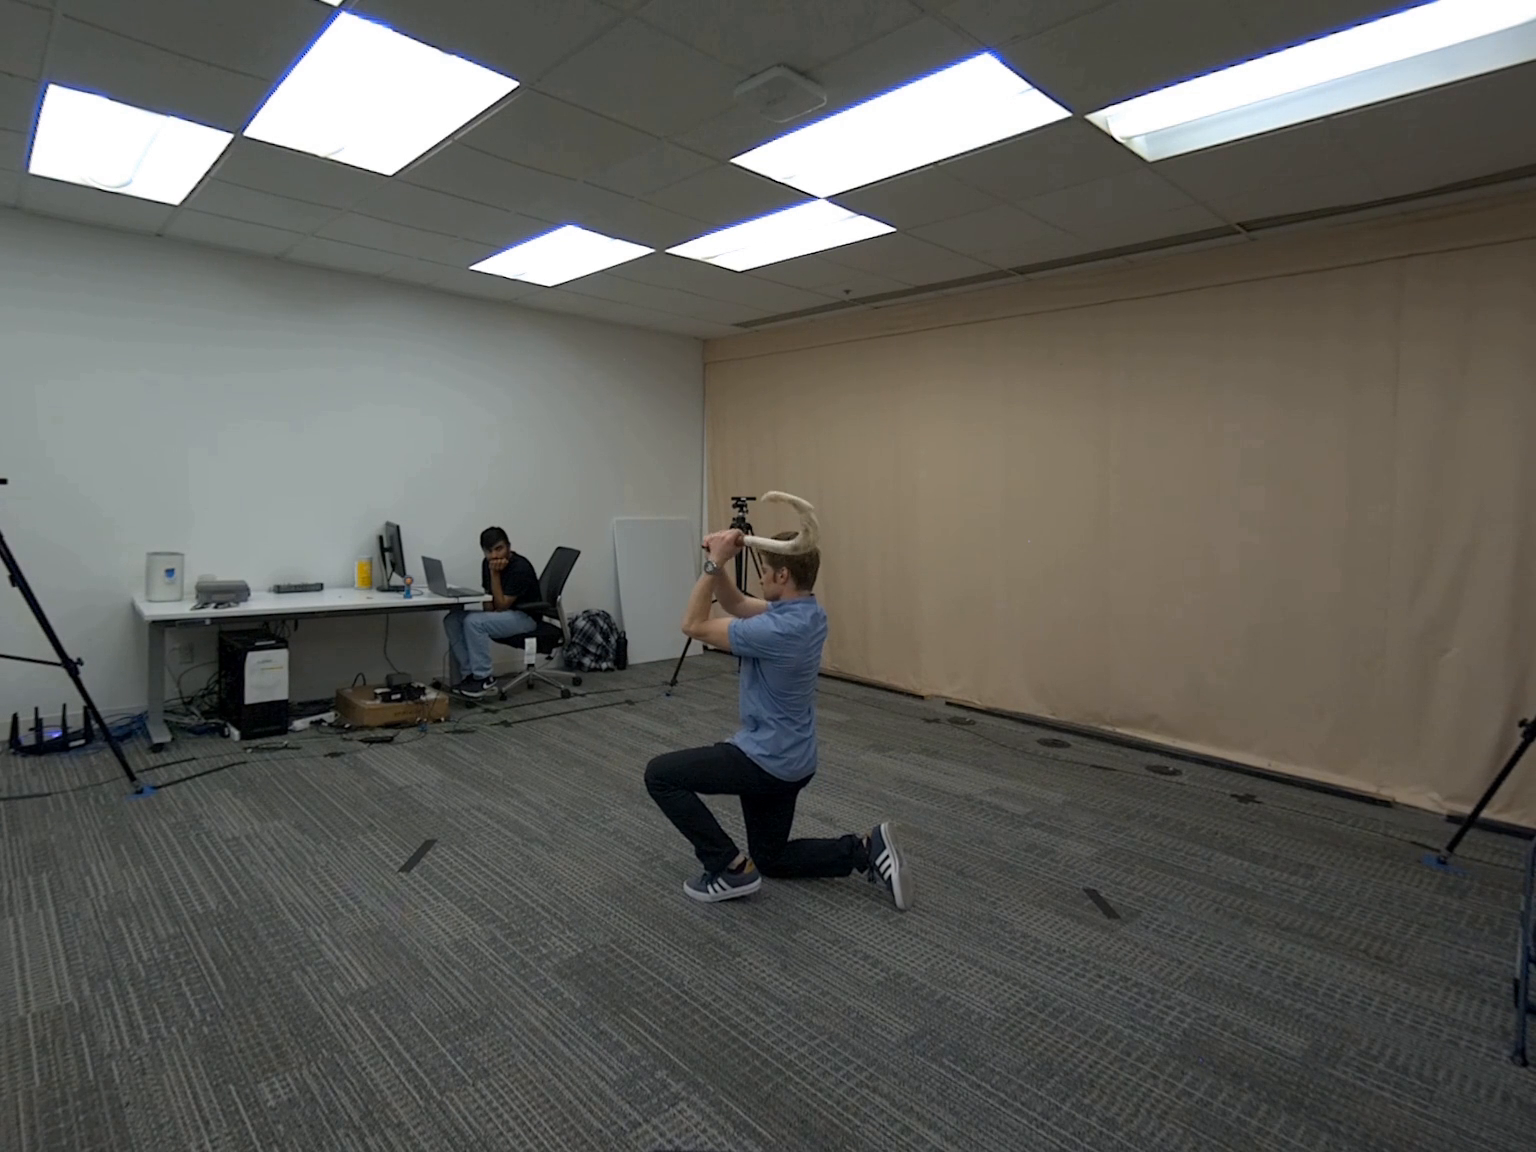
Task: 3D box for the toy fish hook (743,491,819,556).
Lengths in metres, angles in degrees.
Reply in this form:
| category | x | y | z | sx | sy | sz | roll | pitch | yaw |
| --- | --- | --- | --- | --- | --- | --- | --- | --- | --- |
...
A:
| category | x | y | z | sx | sy | sz | roll | pitch | yaw |
| --- | --- | --- | --- | --- | --- | --- | --- | --- | --- |
| toy fish hook | -0.061 | -0.171 | 2.867 | 0.518 | 0.222 | 0.048 | -2 | 15 | 38 |
